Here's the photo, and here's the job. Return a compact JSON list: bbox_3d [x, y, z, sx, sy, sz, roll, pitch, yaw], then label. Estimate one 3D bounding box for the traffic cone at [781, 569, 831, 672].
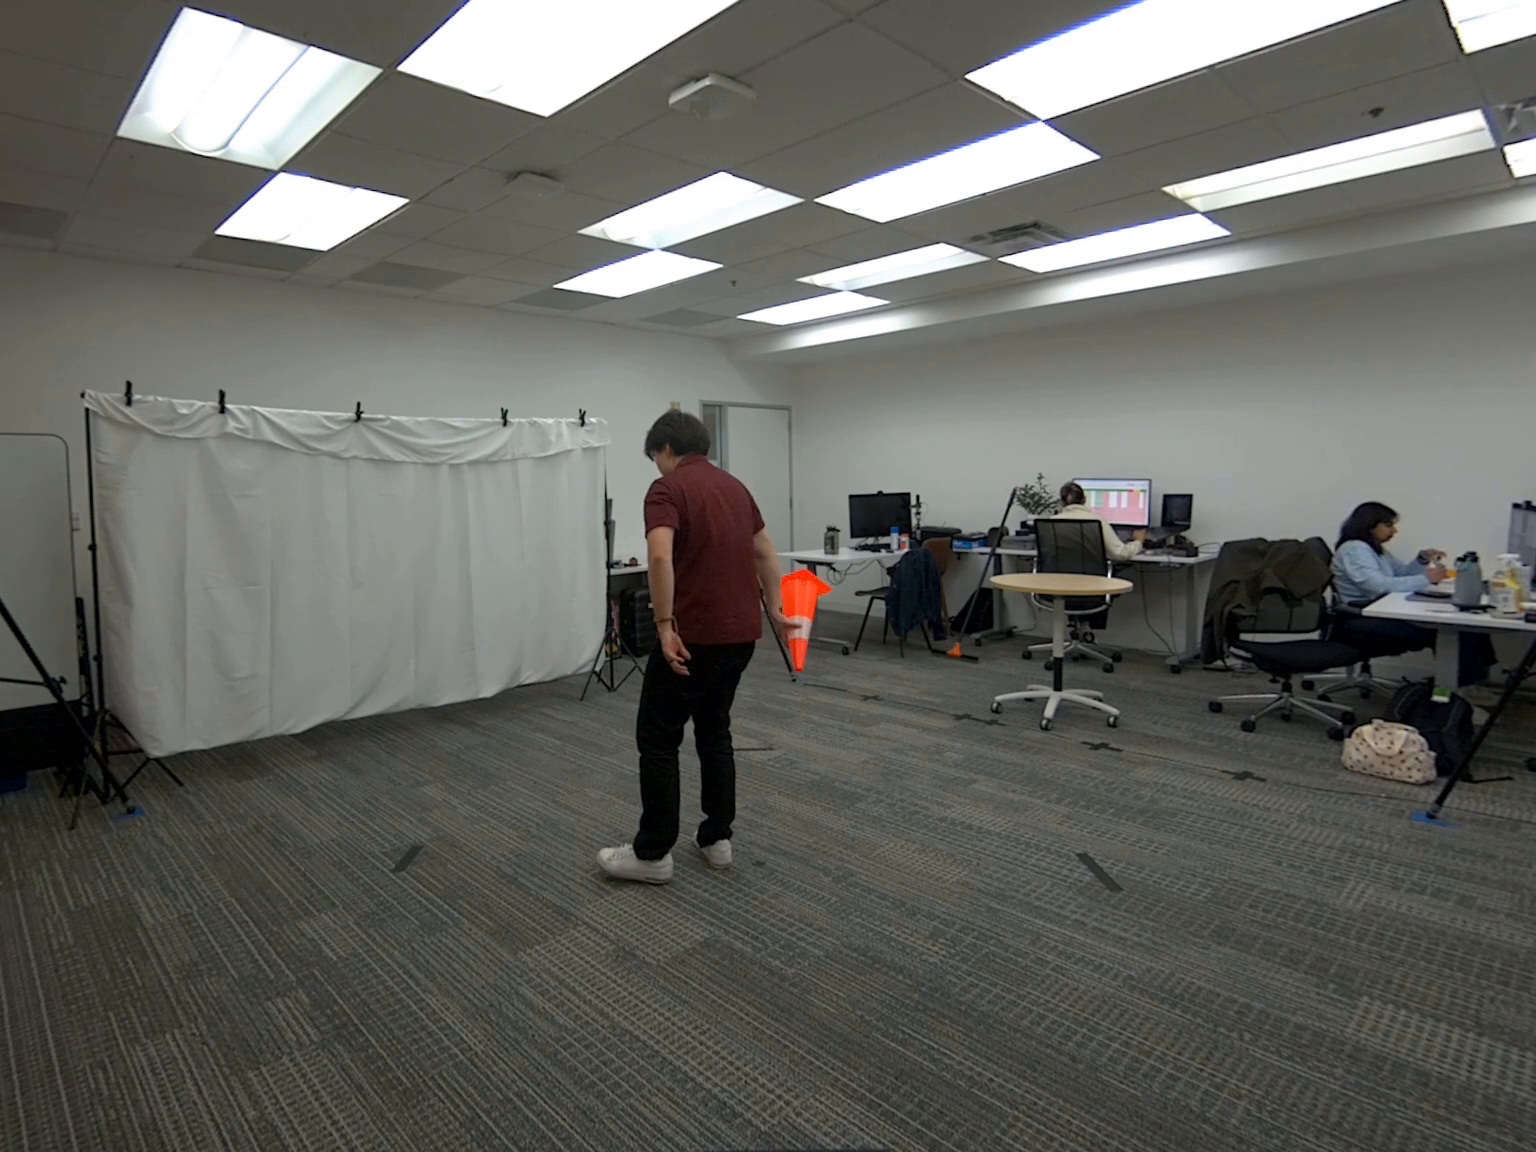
[{"bbox_3d":[0.116,0.204,3.325,0.198,0.393,0.205,31,-44,-32],"label":"traffic cone"}]
